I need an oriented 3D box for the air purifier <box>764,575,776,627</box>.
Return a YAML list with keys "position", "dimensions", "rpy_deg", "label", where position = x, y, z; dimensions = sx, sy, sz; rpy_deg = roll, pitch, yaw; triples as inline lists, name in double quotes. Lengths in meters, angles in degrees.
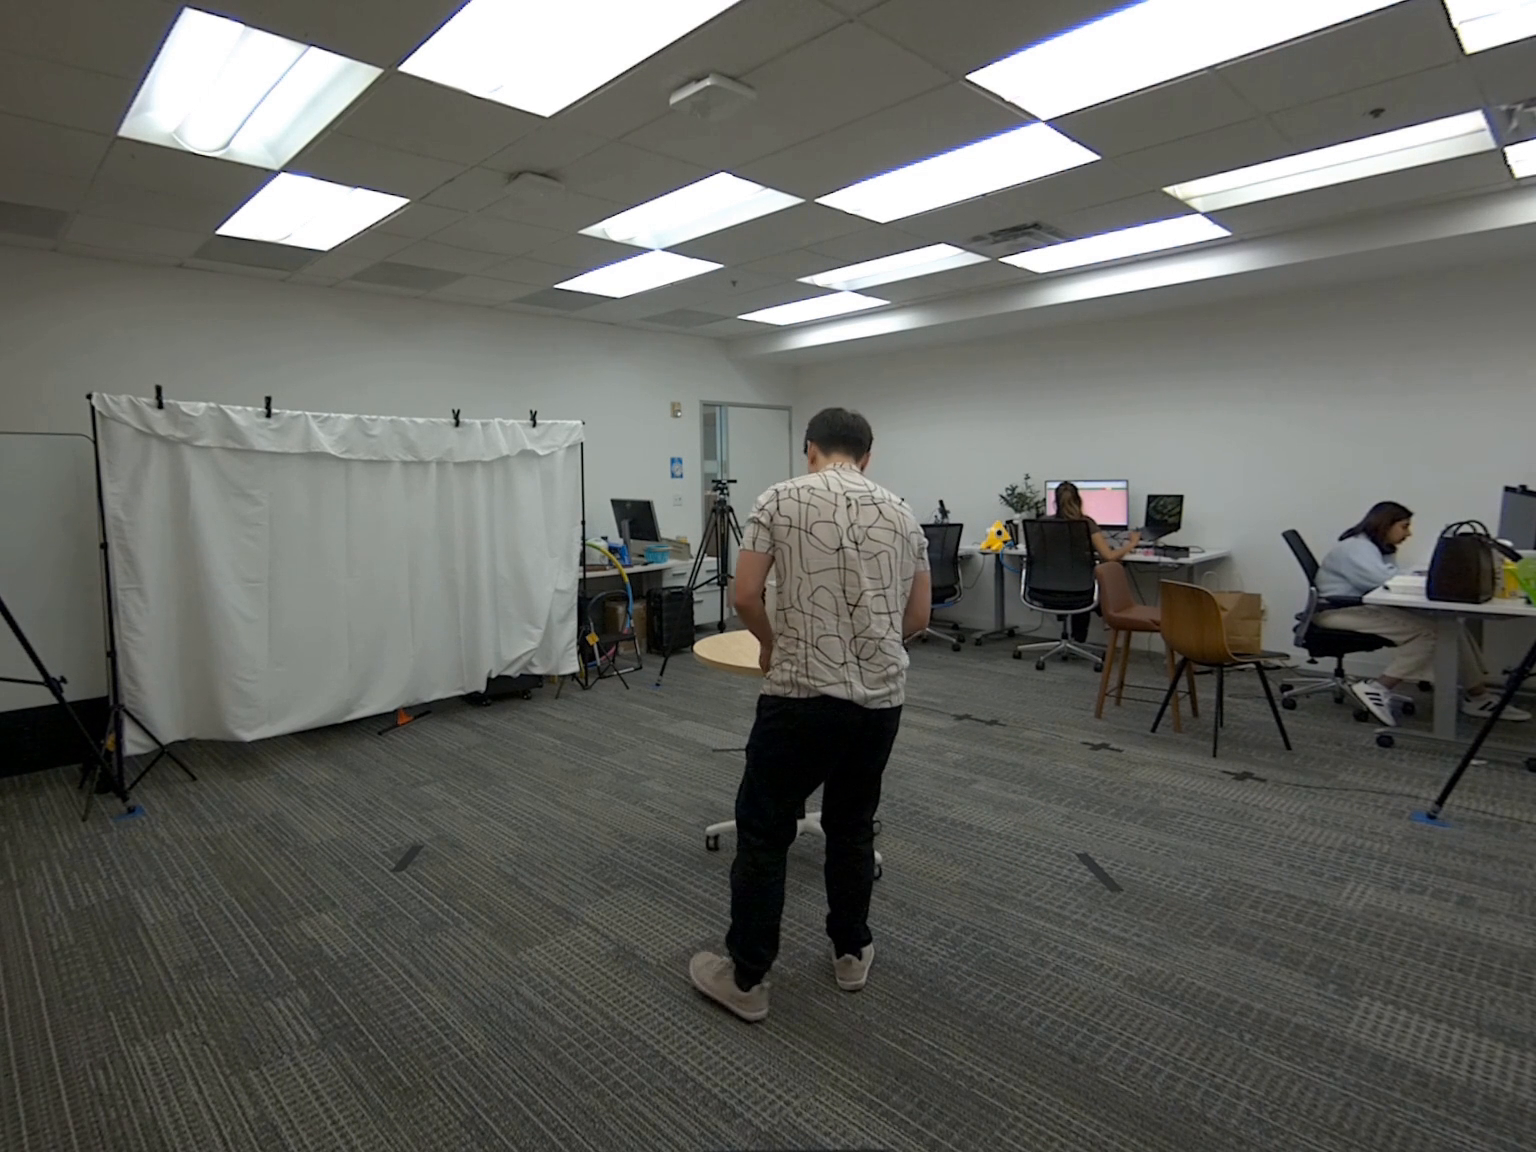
- position: [0.101, 0.162, 2.505]
  dimensions: [0.167, 0.264, 0.176]
  rpy_deg: [-1, 6, -27]
  label: "air purifier"
